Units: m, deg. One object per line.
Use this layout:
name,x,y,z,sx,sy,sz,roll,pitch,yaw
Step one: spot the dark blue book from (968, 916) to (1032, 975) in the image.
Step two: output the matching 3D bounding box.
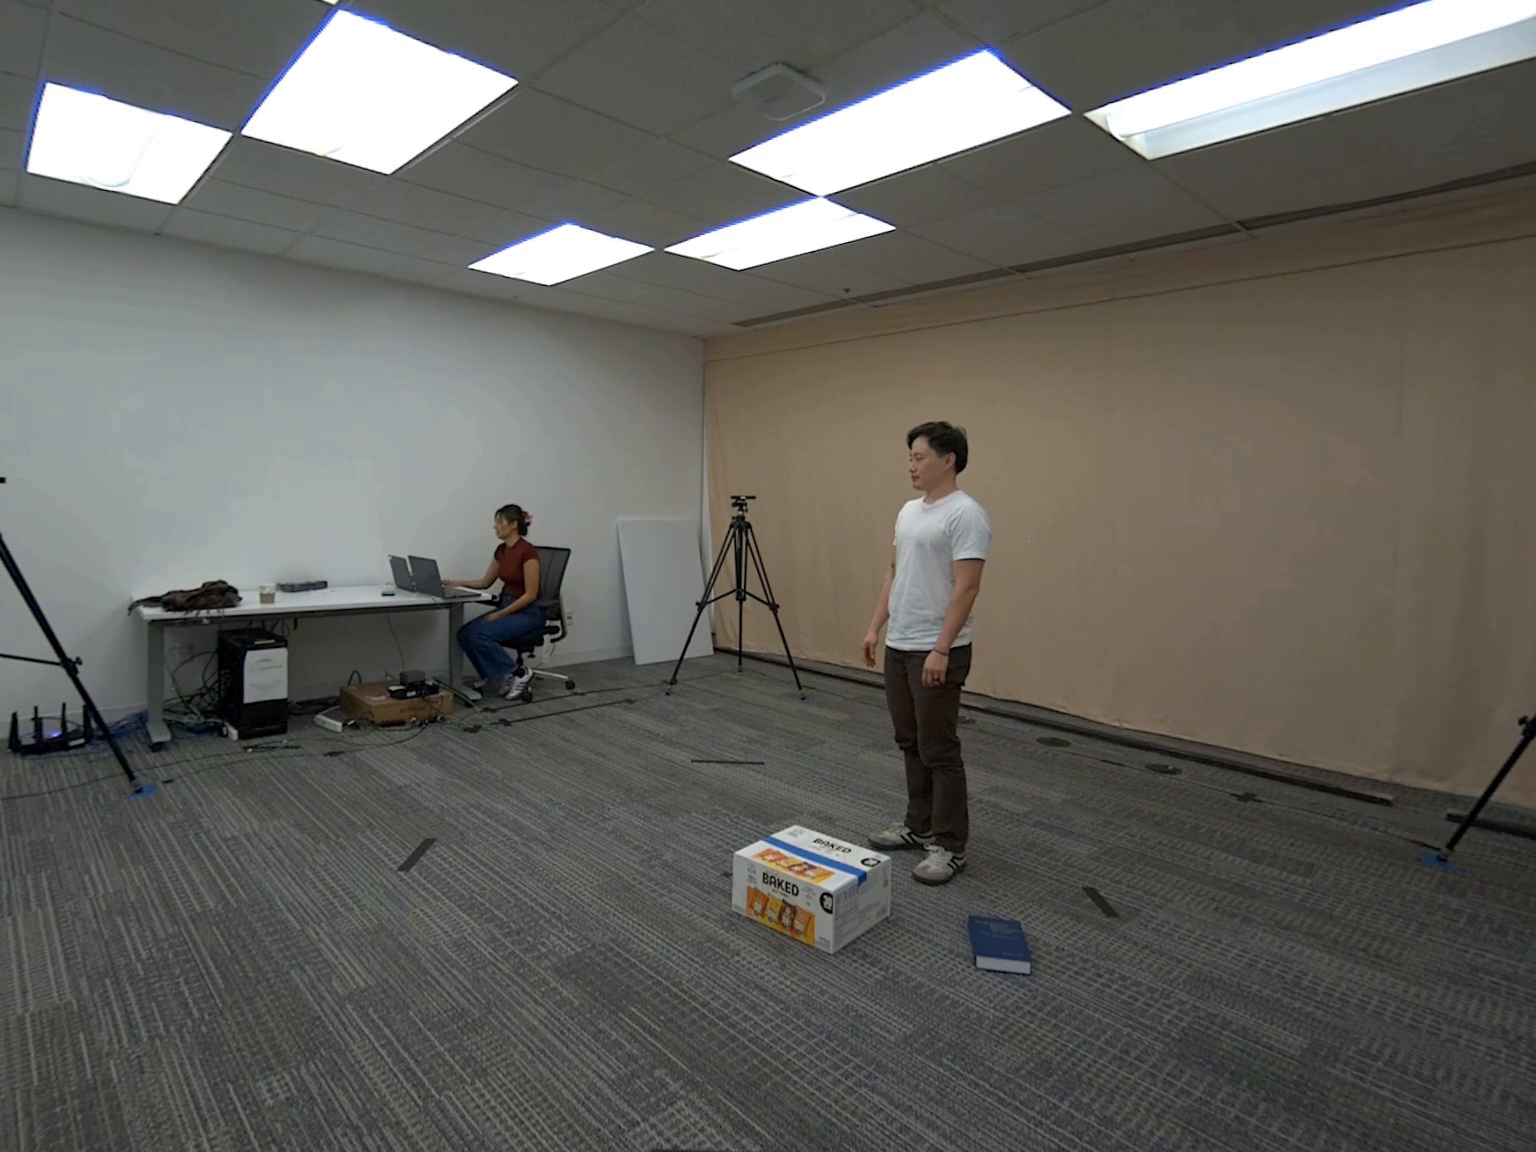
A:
dark blue book,0.709,1.143,2.616,0.165,0.045,0.244,2,5,9
